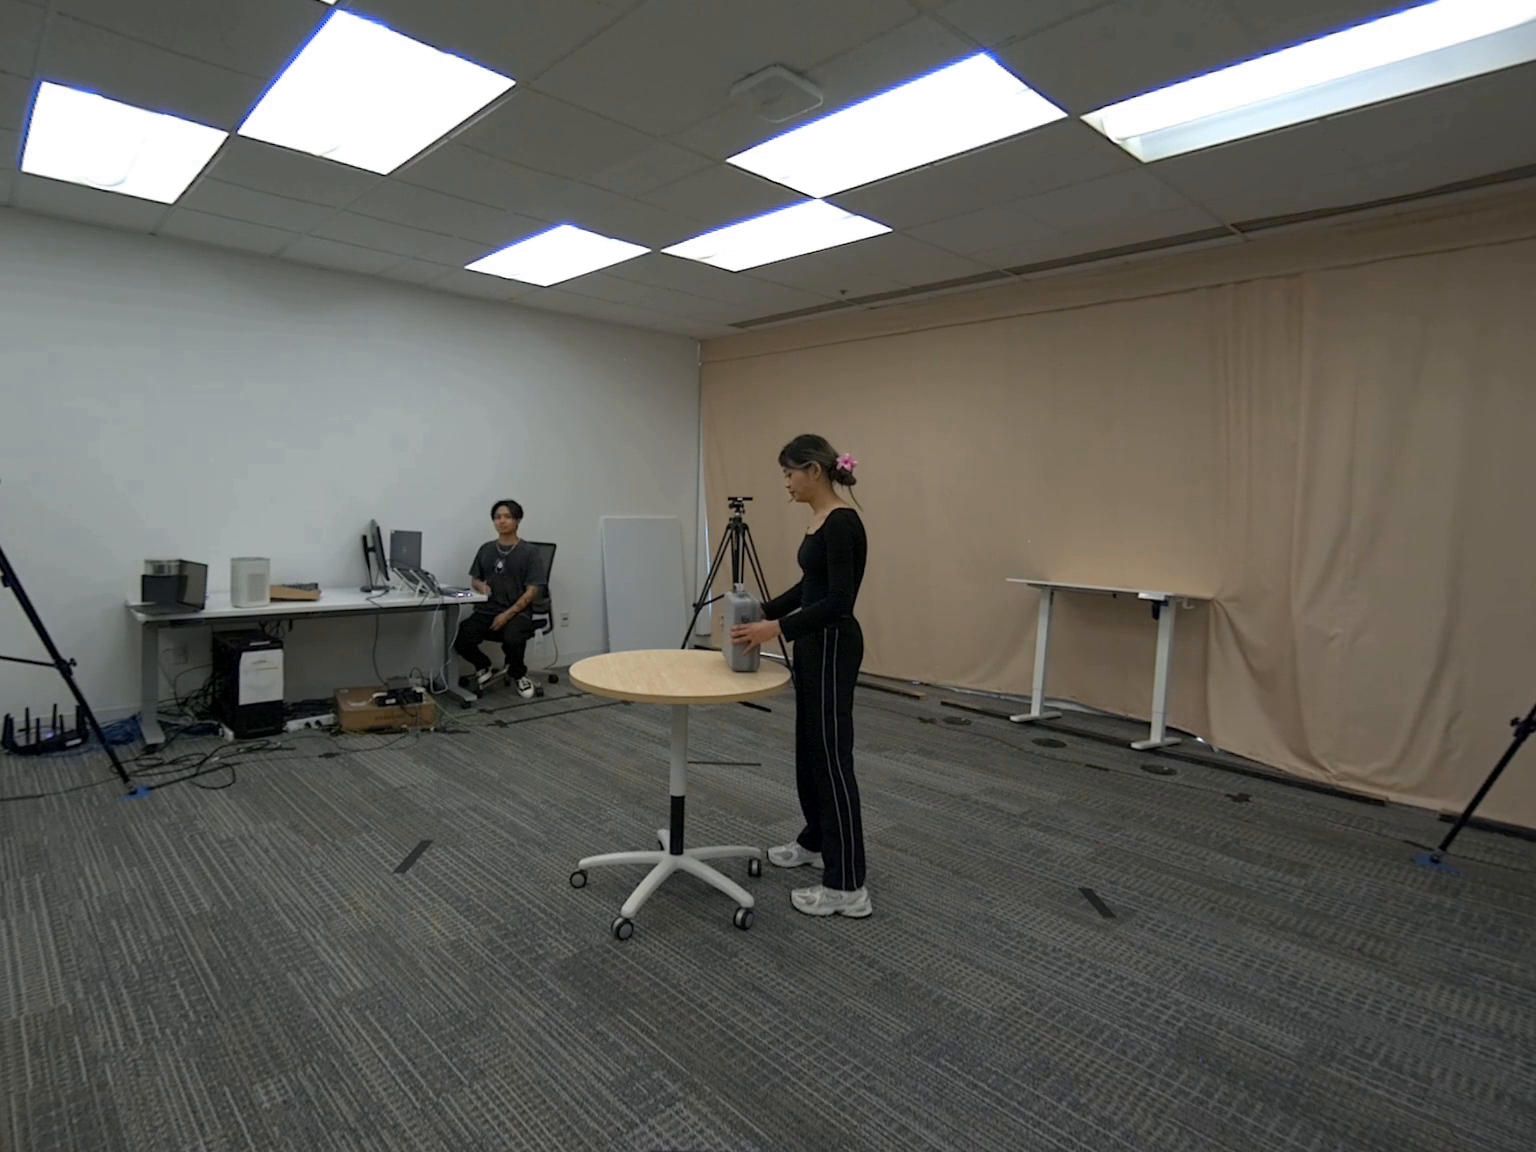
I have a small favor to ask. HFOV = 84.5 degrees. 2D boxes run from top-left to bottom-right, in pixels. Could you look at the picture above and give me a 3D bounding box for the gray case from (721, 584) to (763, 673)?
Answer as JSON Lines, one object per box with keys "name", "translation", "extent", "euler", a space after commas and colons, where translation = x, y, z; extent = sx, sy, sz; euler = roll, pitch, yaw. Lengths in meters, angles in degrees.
{"name": "gray case", "translation": [-0.101, 0.188, 3.004], "extent": [0.103, 0.259, 0.260], "euler": [-1, 7, -11]}
